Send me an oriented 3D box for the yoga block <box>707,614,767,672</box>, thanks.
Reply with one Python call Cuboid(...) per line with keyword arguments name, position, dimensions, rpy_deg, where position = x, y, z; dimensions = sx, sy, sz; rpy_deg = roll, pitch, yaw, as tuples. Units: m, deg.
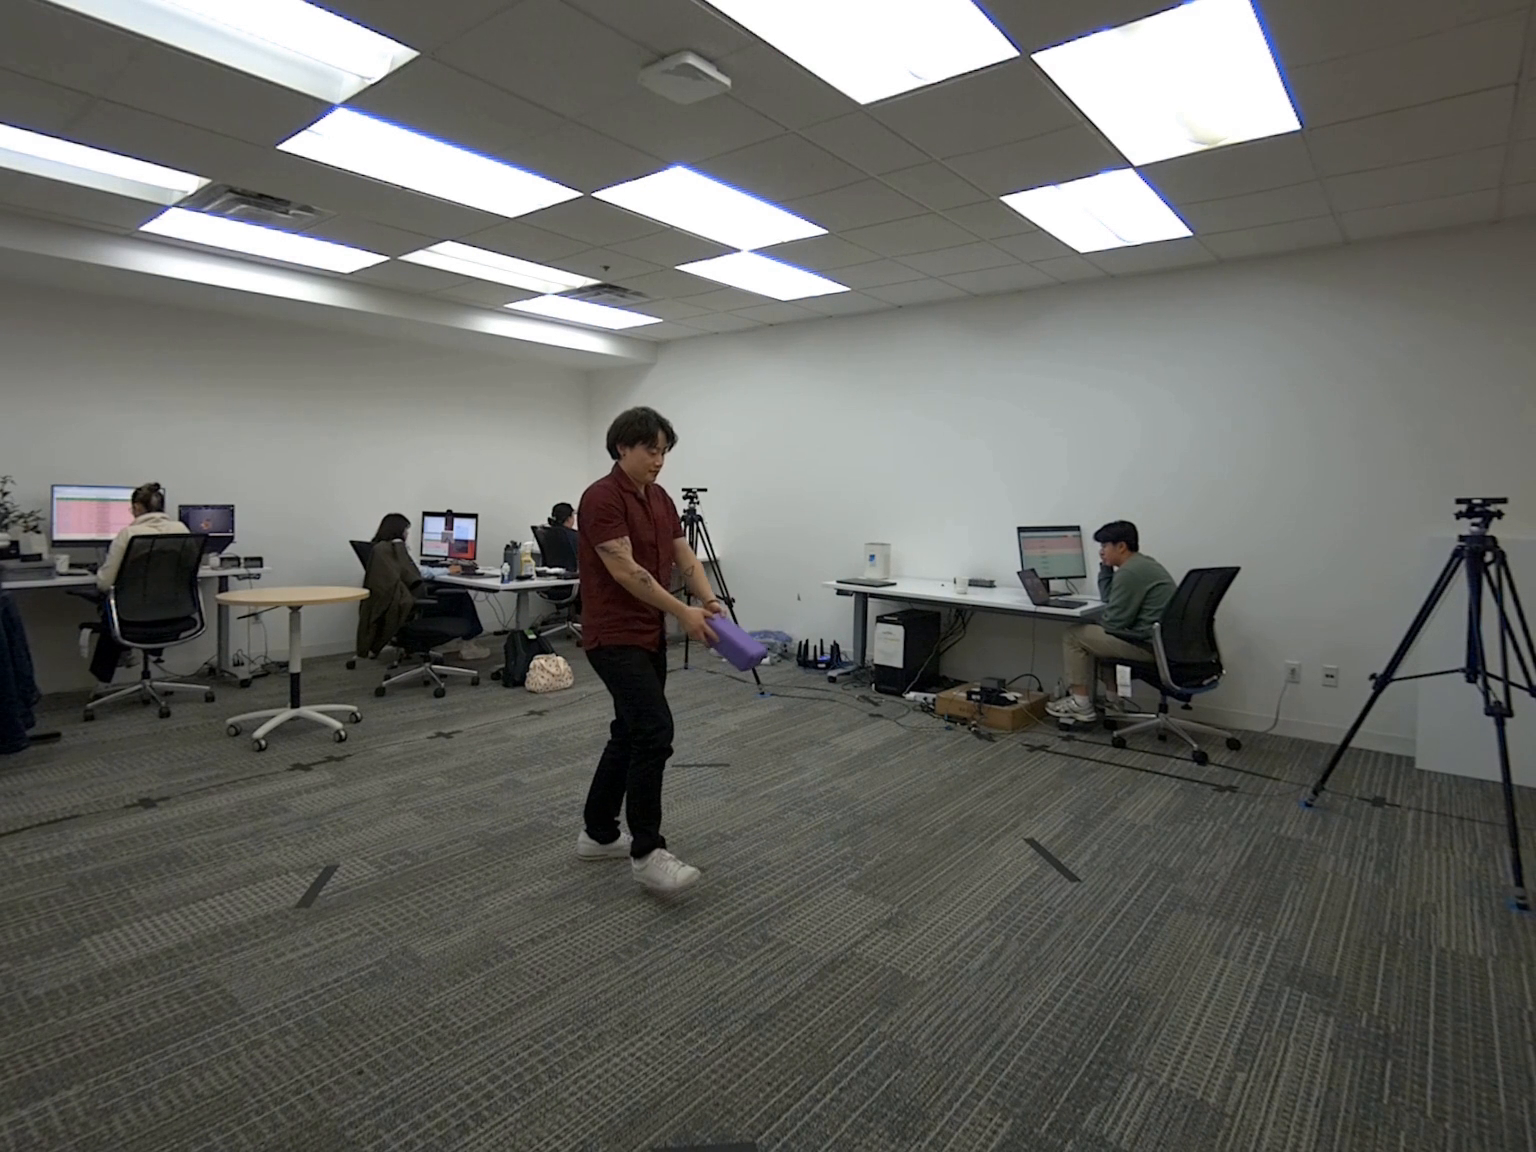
Cuboid(name="yoga block", position=(-0.134, 0.211, 2.965), dimensions=(0.235, 0.076, 0.146), rpy_deg=(37, 16, 18))
